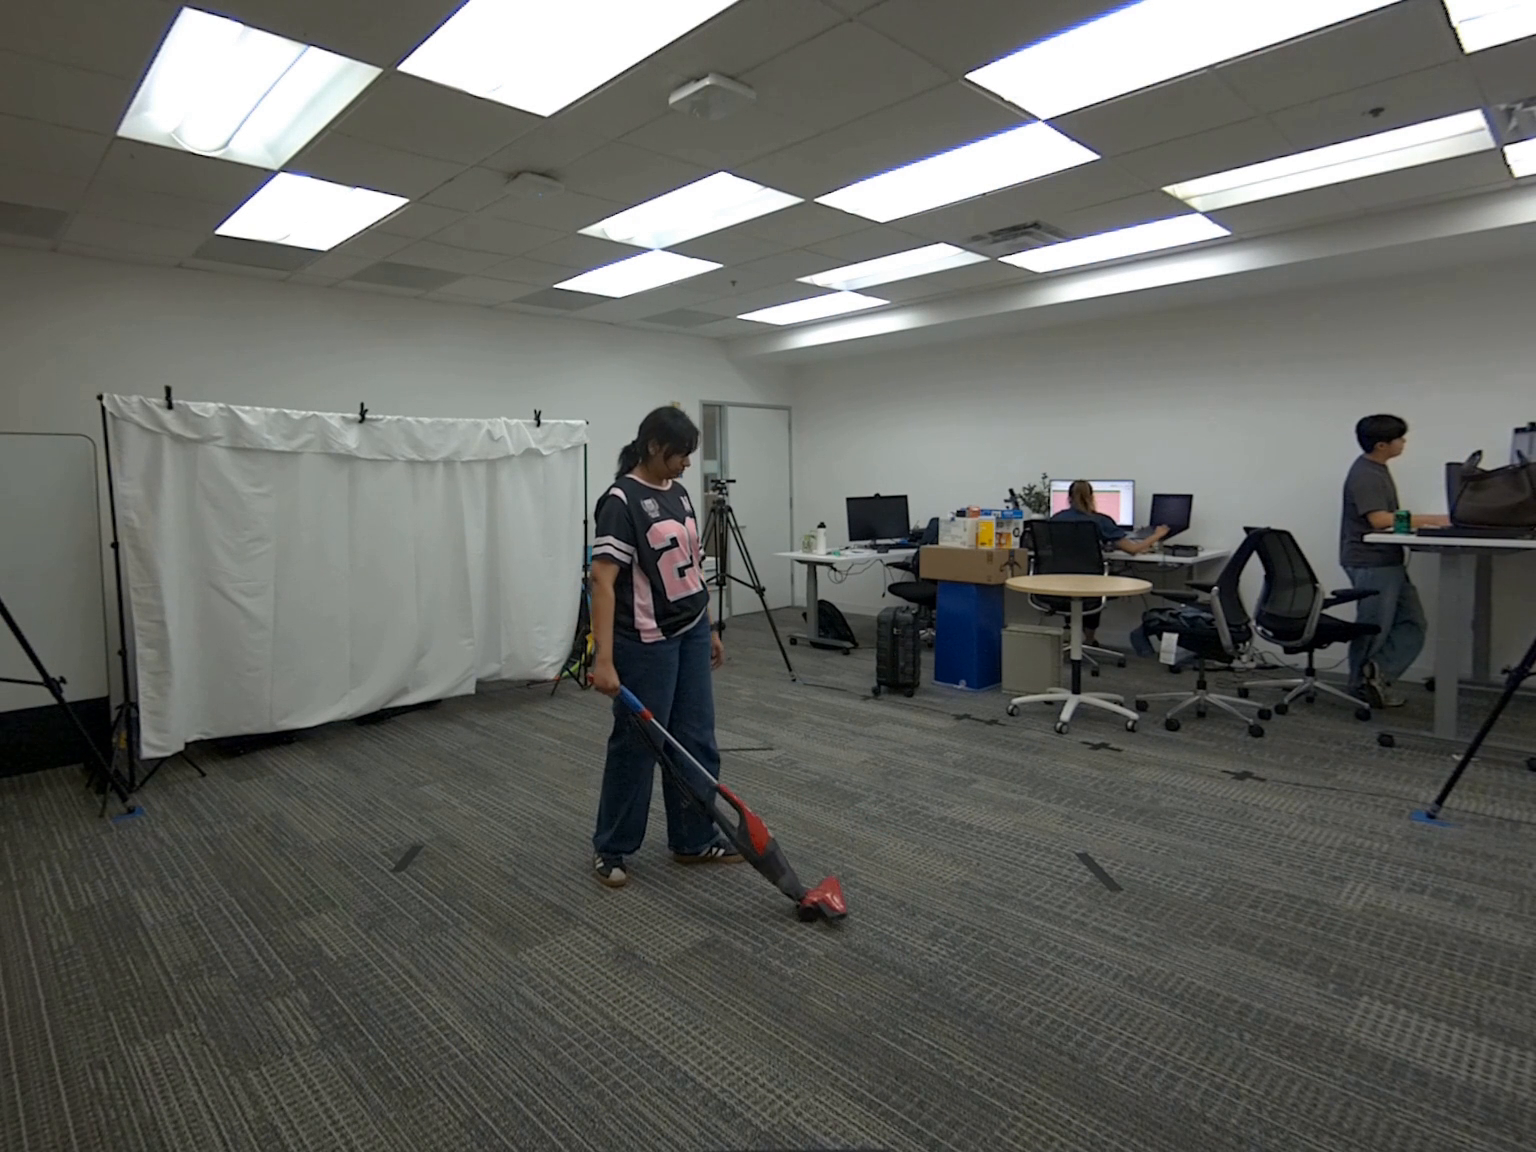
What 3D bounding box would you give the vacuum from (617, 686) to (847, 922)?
[{"bbox_3d":[-0.192,0.699,2.738,0.144,1.047,0.253,-46,2,4],"label":"vacuum"}]
